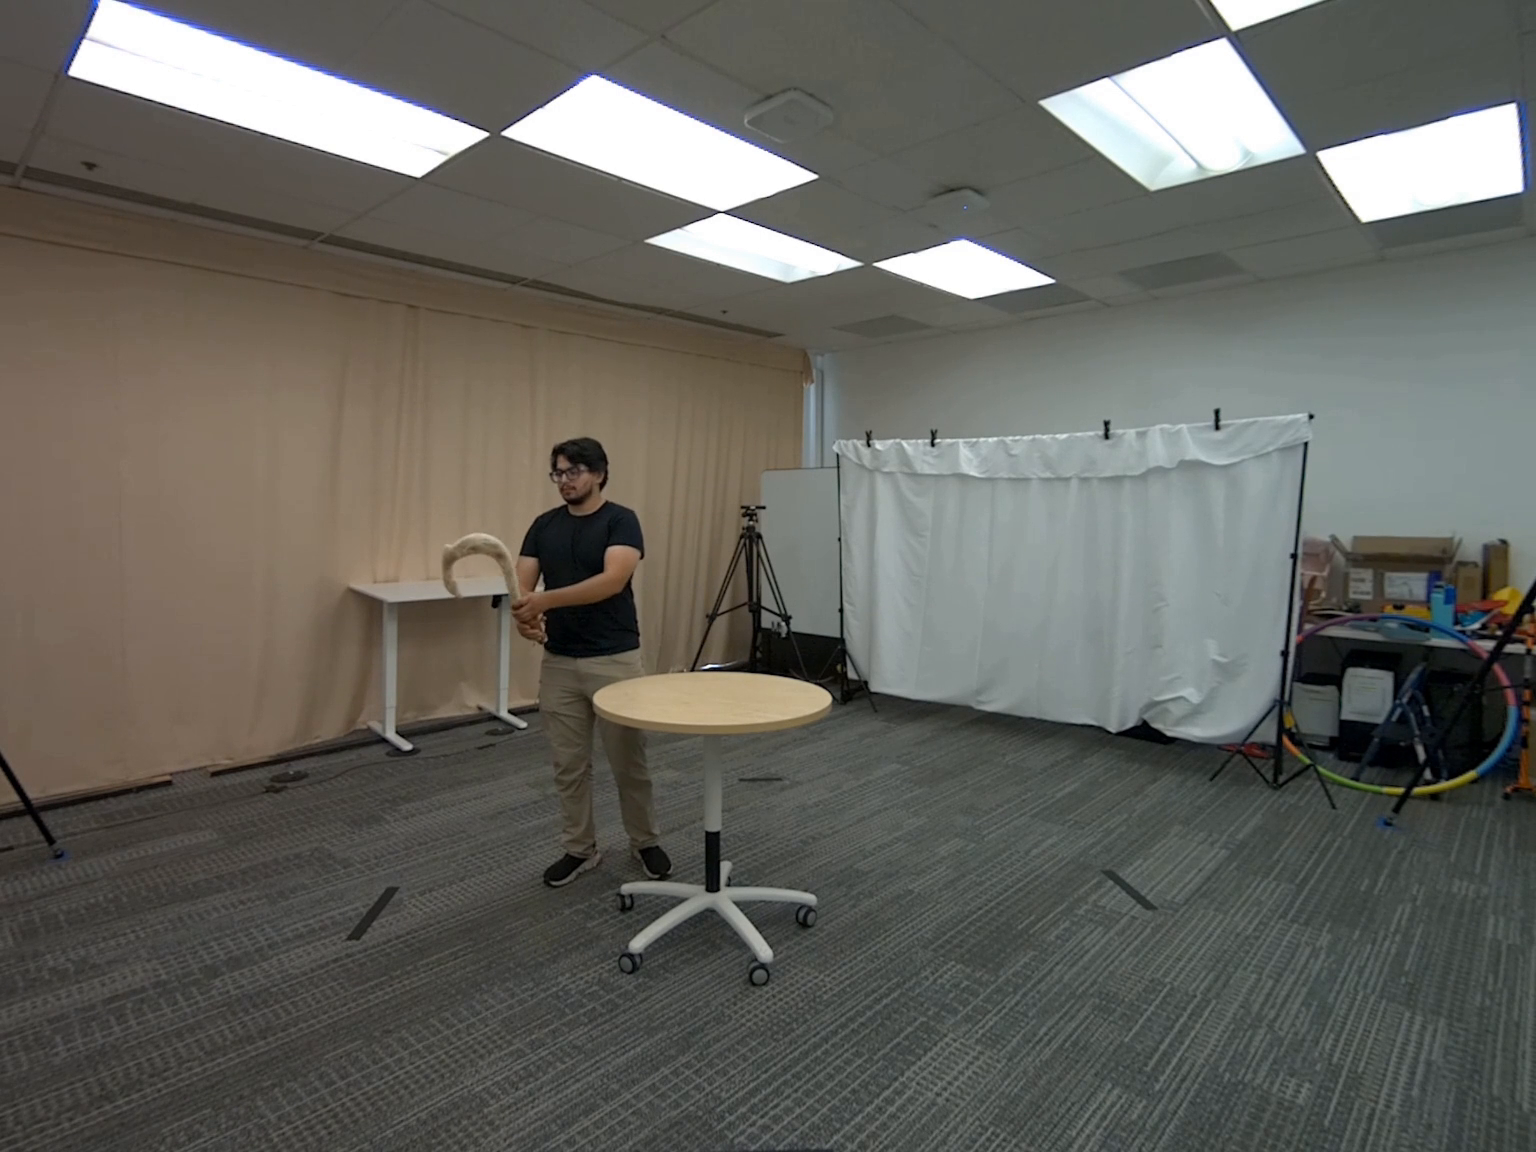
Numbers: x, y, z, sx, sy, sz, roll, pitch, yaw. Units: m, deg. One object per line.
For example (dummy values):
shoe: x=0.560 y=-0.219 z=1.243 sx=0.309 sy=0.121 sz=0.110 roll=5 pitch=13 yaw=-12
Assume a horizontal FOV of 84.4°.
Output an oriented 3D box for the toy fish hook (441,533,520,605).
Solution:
toy fish hook: x=-0.891 y=0.076 z=2.733 sx=0.224 sy=0.493 sz=0.050 roll=-21 pitch=37 yaw=-2
